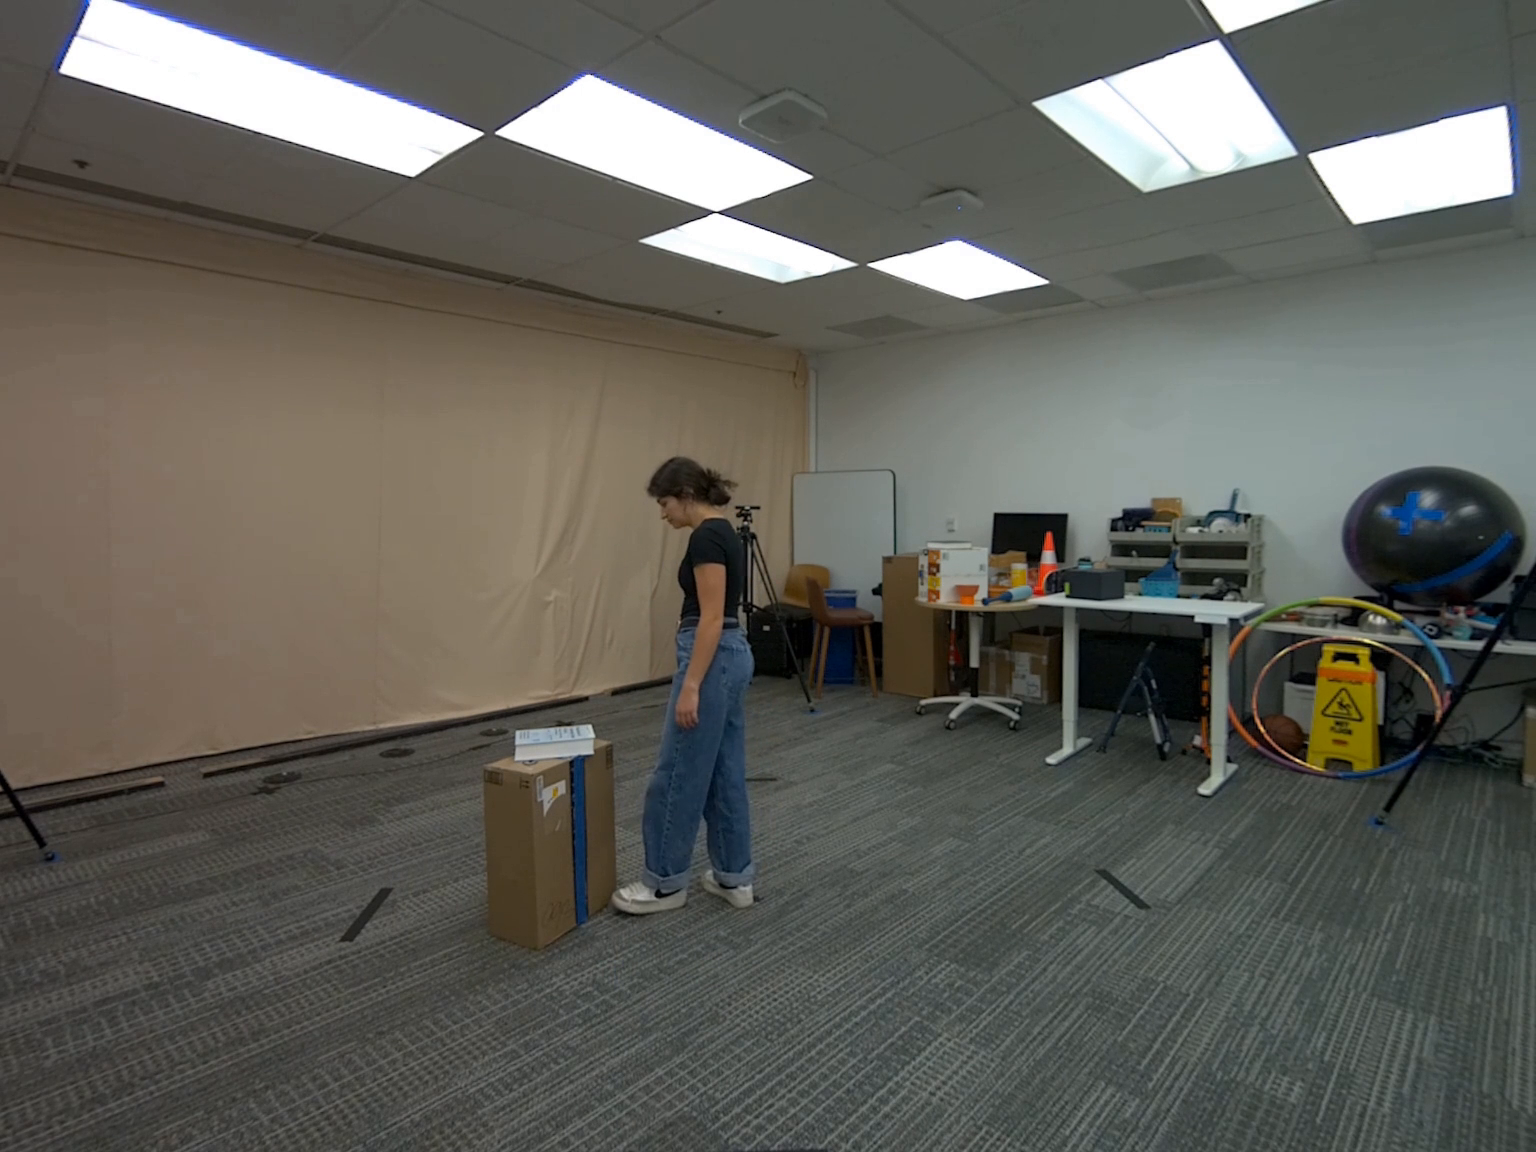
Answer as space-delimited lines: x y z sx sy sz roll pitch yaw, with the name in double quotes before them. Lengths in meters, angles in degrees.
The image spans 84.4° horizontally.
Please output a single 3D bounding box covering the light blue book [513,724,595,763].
"light blue book" -0.729 0.571 2.879 0.257 0.059 0.194 -3 5 -14
